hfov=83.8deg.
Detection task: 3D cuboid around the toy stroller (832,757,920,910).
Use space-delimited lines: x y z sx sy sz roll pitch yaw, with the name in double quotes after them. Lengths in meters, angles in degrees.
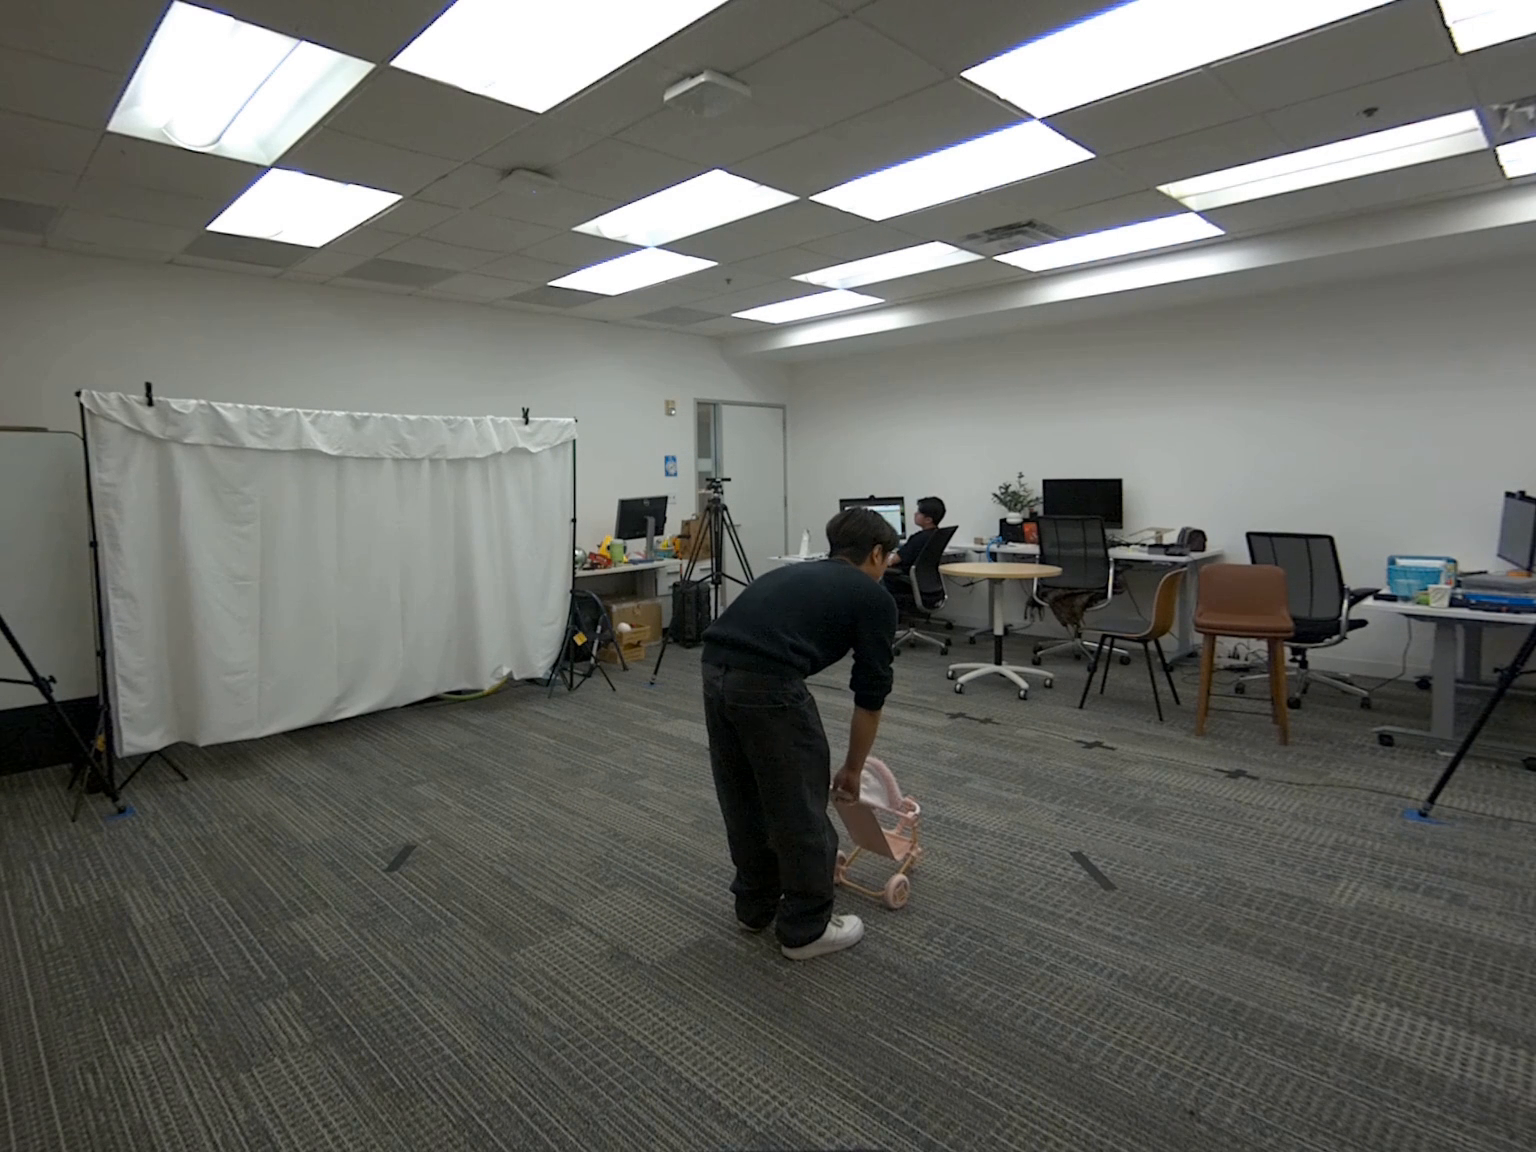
0.367 0.837 2.874 0.337 0.525 0.290 -28 21 -37 "toy stroller"
